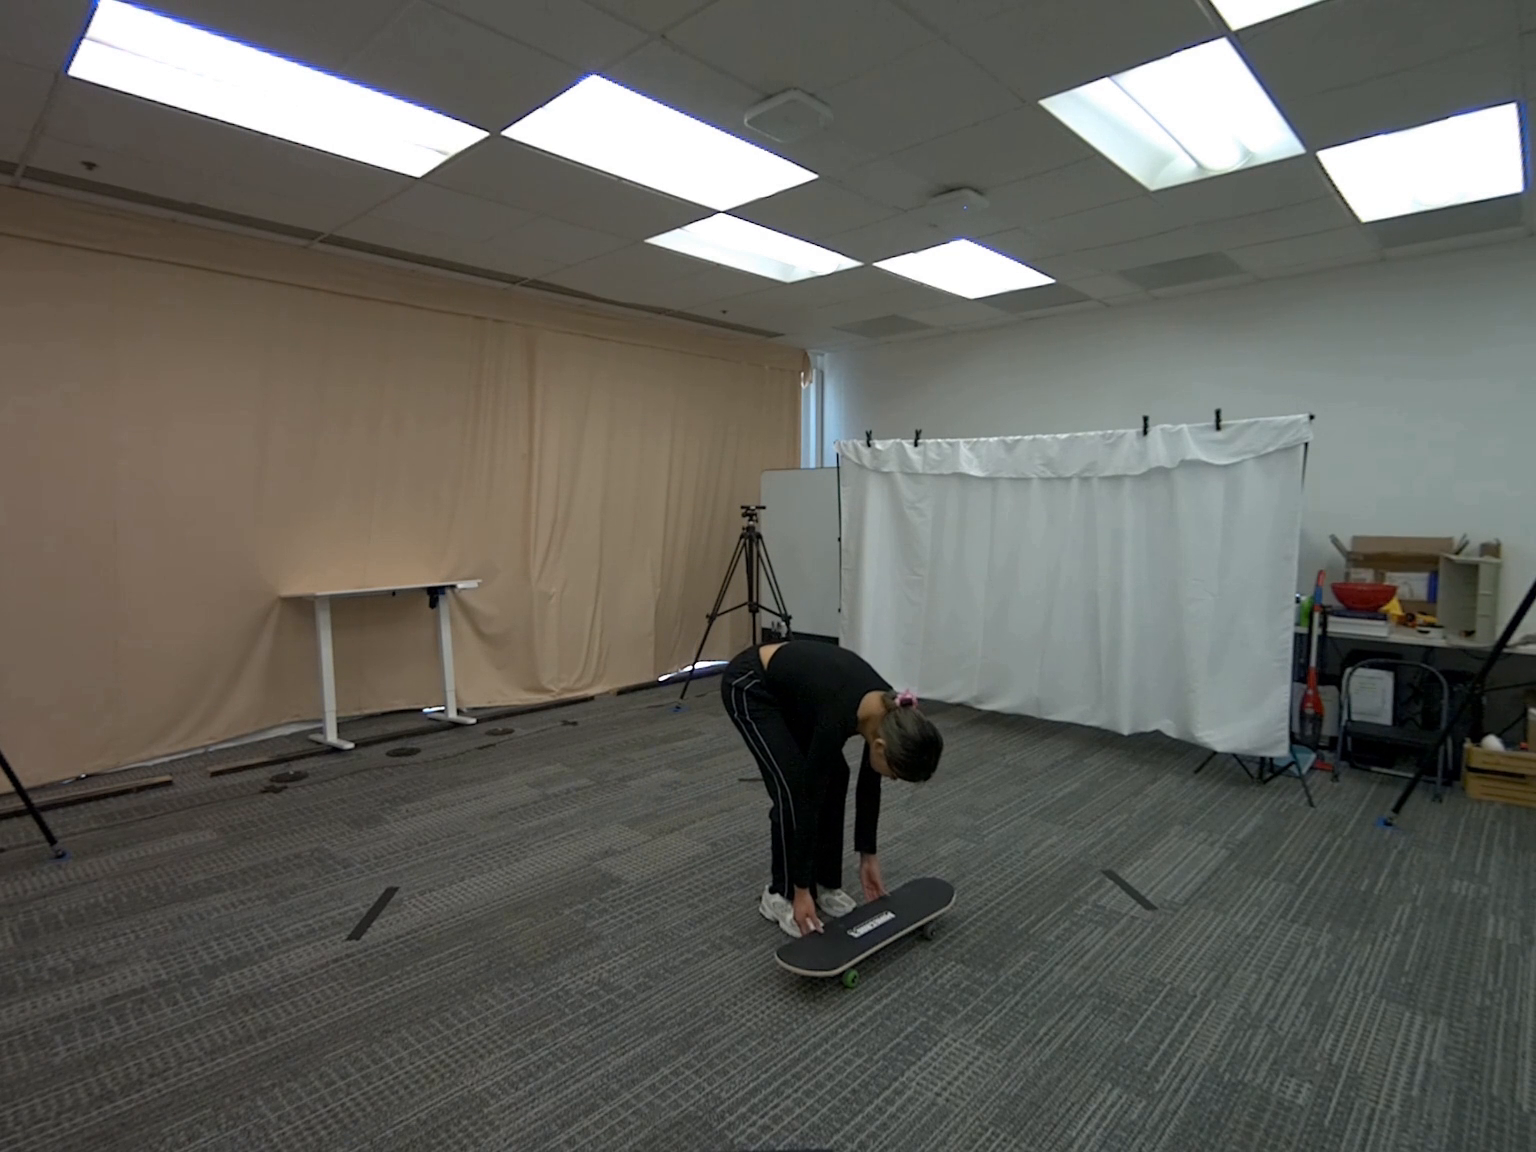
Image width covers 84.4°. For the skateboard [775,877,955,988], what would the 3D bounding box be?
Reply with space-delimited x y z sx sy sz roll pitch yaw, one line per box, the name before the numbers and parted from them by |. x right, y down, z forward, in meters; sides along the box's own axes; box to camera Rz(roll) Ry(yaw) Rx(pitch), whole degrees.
skateboard | 0.332 1.123 2.610 0.761 0.110 0.200 -5 7 -44
